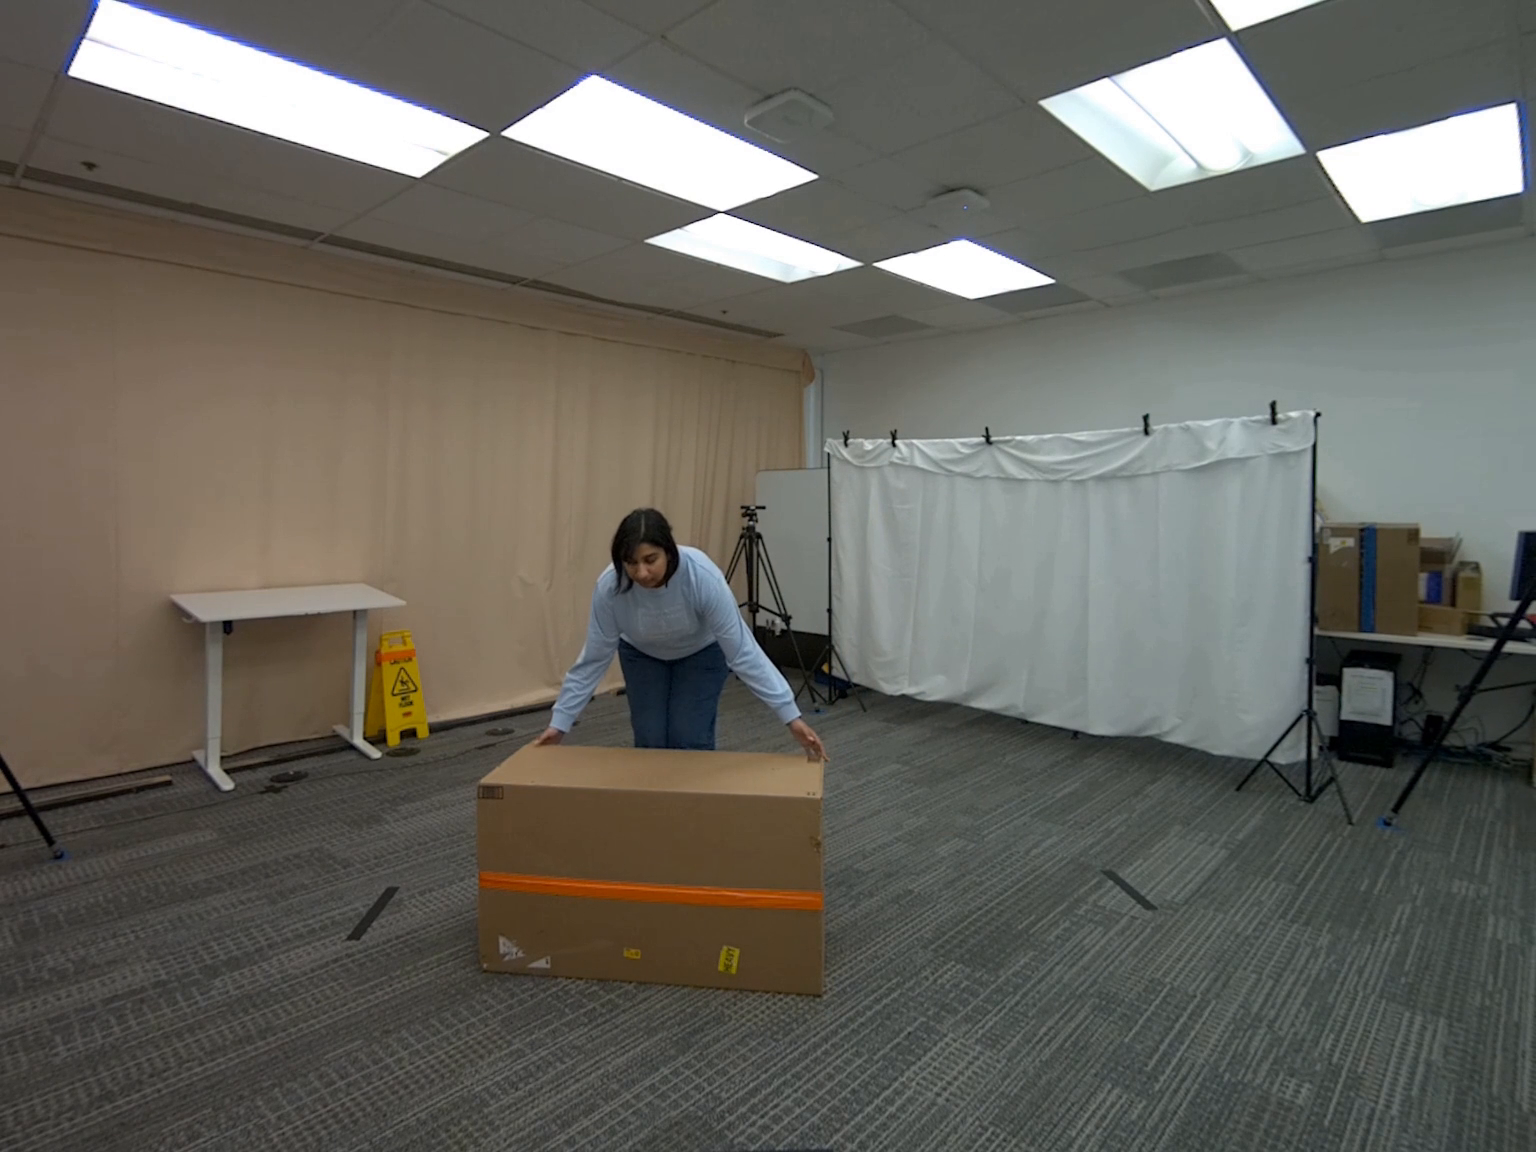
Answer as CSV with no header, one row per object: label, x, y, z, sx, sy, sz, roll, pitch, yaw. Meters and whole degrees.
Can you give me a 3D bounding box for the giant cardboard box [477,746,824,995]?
giant cardboard box,-0.339,0.883,2.642,1.035,0.576,0.423,1,4,7
